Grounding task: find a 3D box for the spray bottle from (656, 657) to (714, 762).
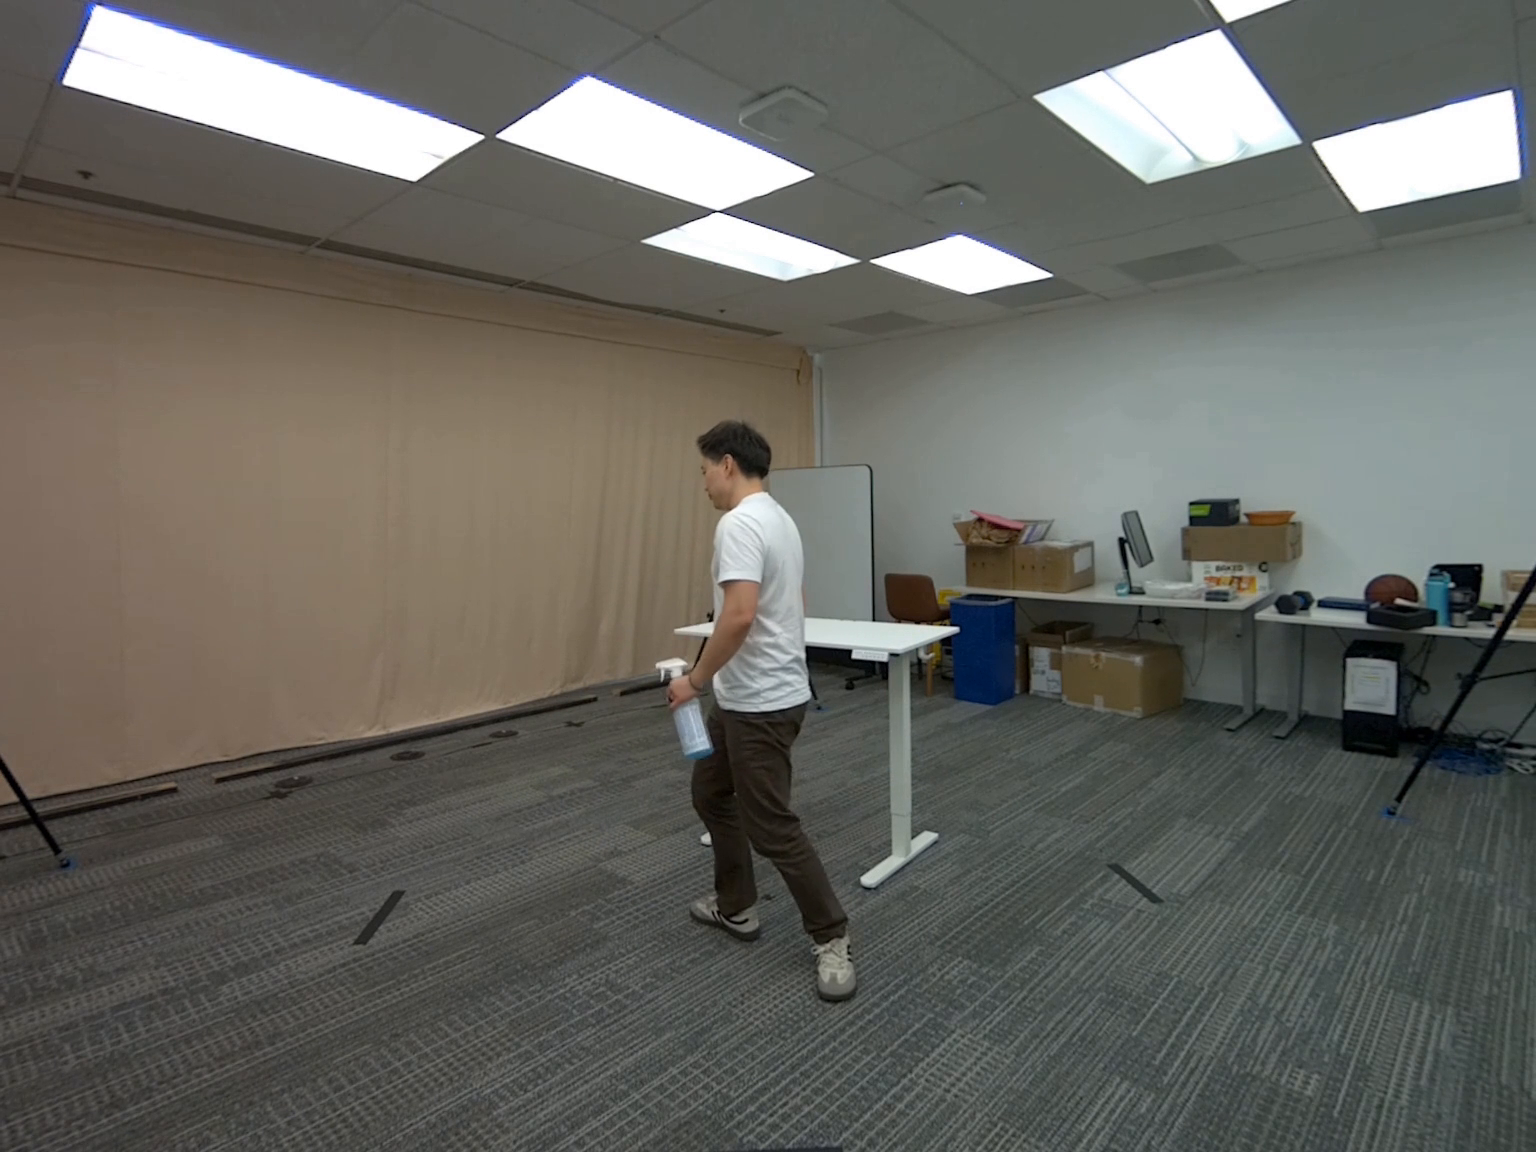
[{"bbox_3d":[-0.231,0.375,2.448,0.091,0.302,0.084,-25,-16,20],"label":"spray bottle"}]
